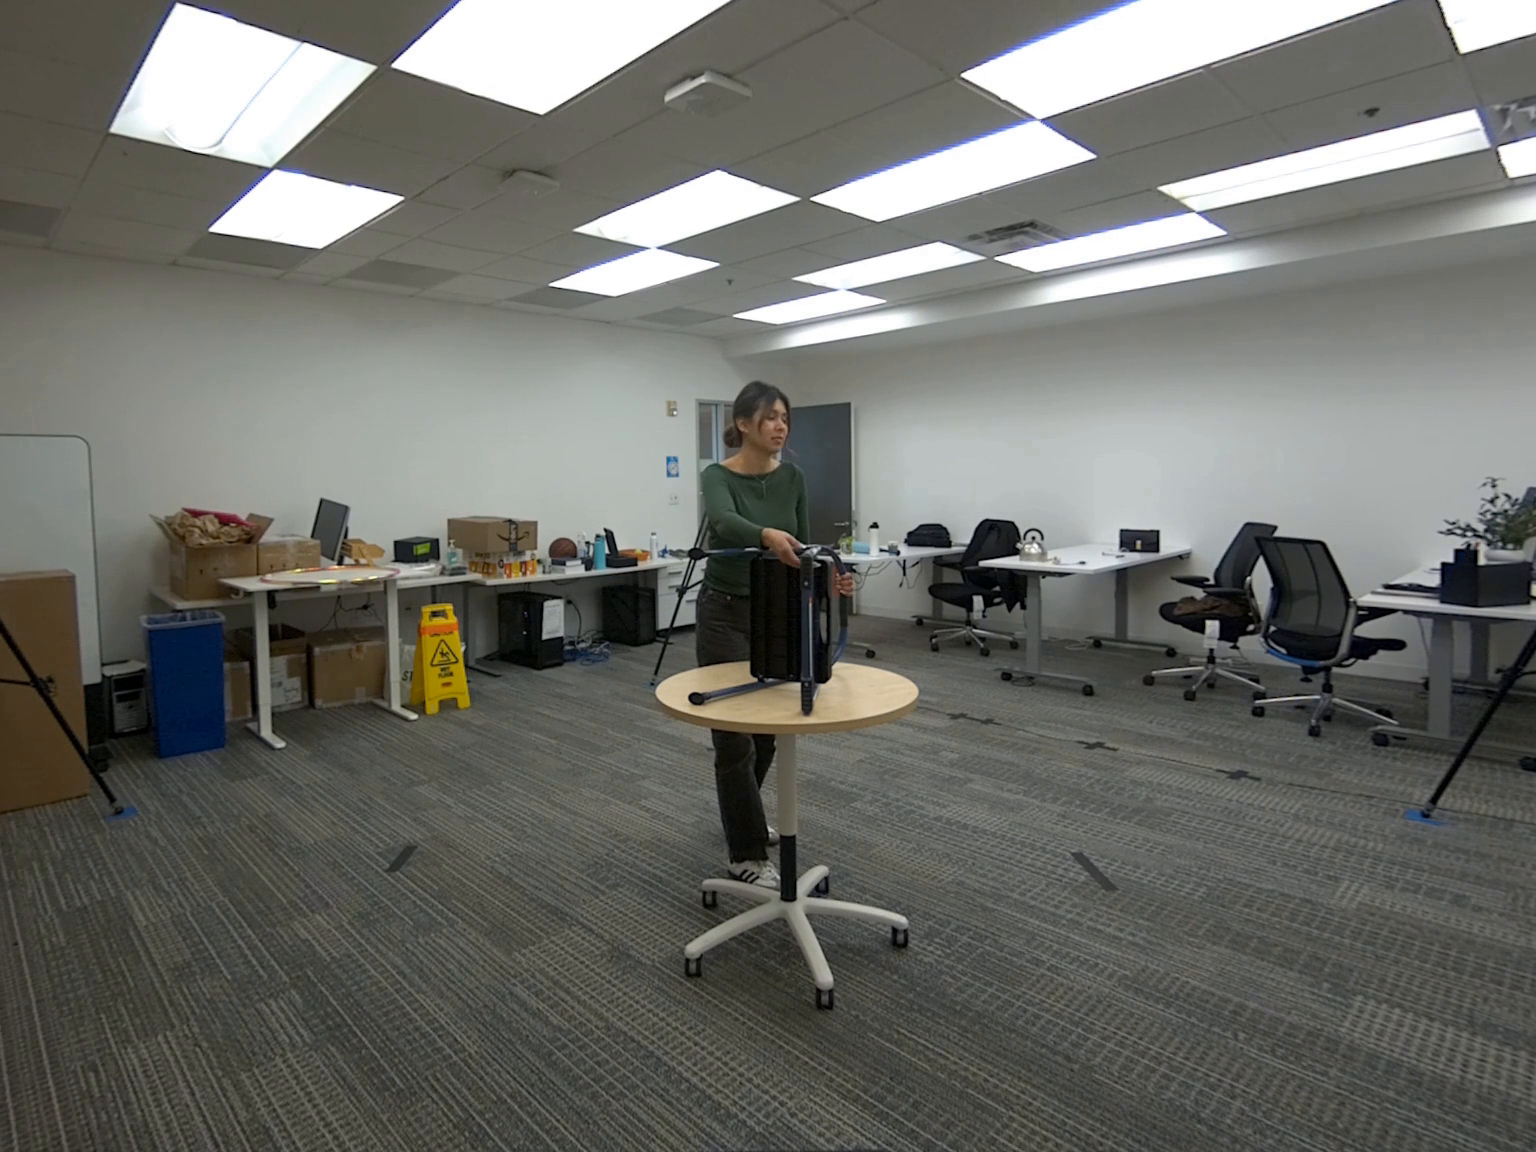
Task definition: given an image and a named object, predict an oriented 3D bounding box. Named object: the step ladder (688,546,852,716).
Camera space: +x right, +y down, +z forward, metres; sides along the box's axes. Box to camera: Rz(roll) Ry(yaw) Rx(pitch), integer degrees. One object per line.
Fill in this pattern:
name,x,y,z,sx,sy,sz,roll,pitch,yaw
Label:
step ladder,0.054,0.119,2.525,0.357,0.429,0.595,2,5,23
